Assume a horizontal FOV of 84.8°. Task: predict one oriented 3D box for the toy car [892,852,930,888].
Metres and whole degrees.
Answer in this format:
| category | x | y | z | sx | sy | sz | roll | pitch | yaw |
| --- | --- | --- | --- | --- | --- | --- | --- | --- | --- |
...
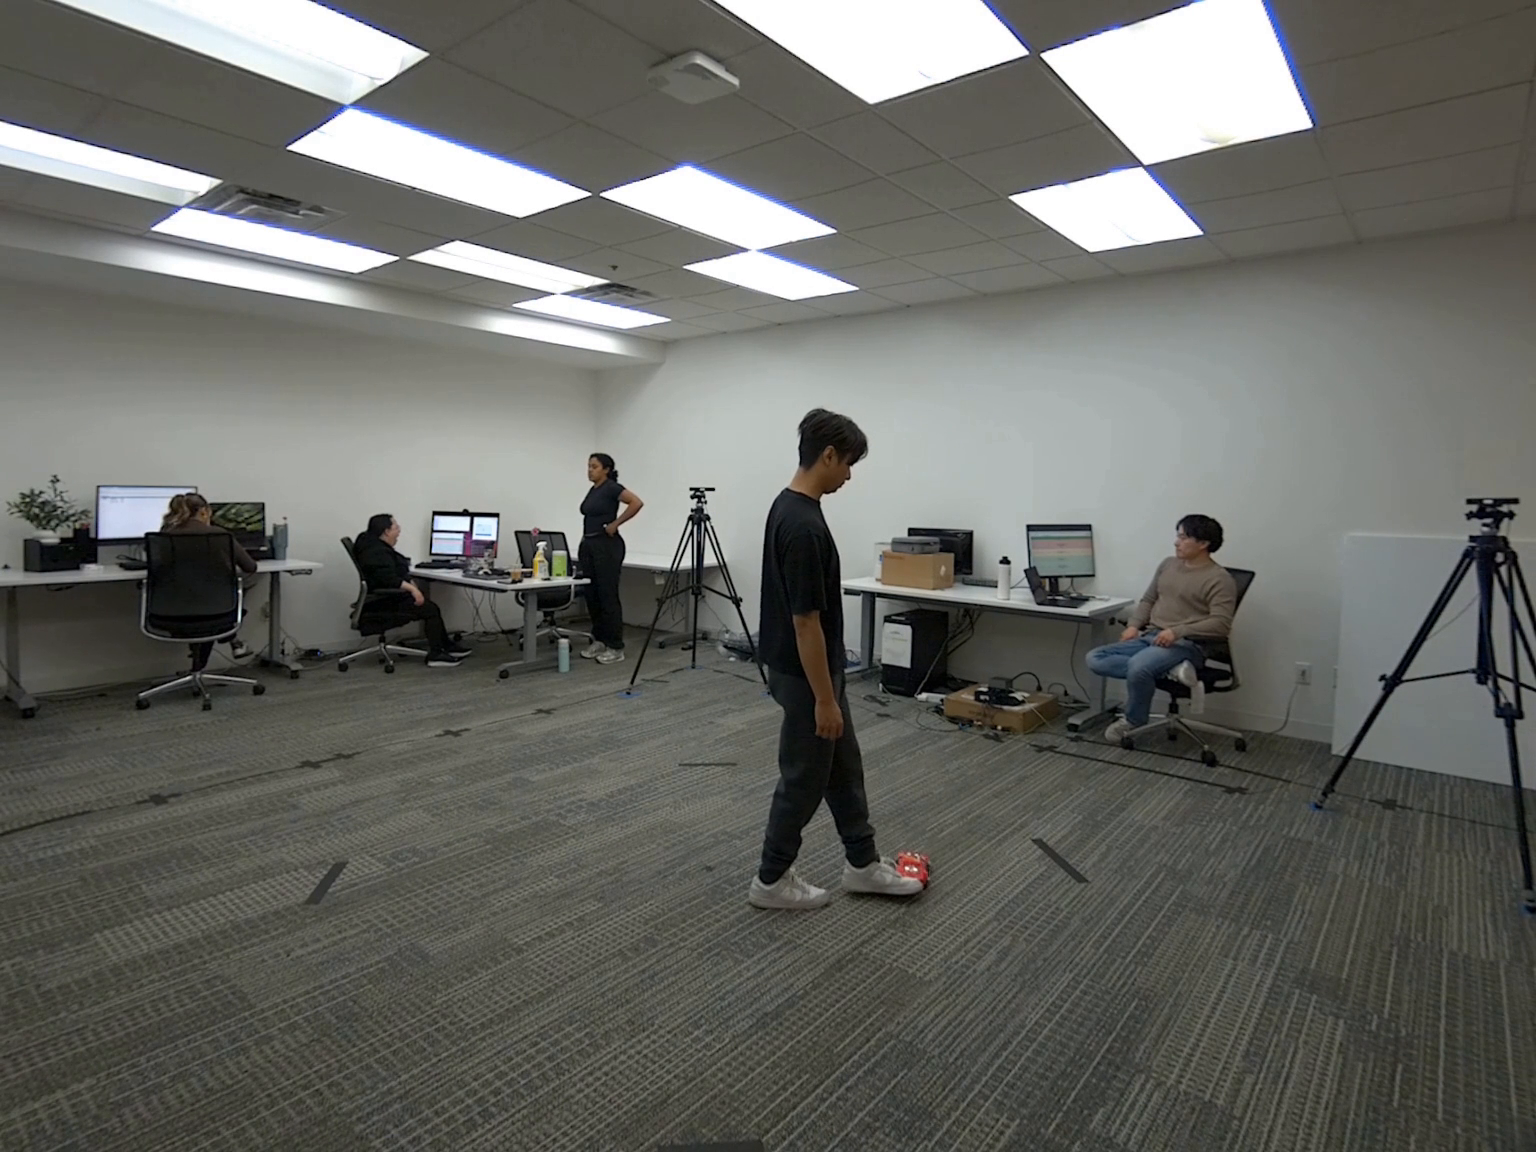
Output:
| category | x | y | z | sx | sy | sz | roll | pitch | yaw |
| --- | --- | --- | --- | --- | --- | --- | --- | --- | --- |
| toy car | 0.513 | 1.052 | 3.068 | 0.132 | 0.084 | 0.249 | 4 | -6 | 12 |
